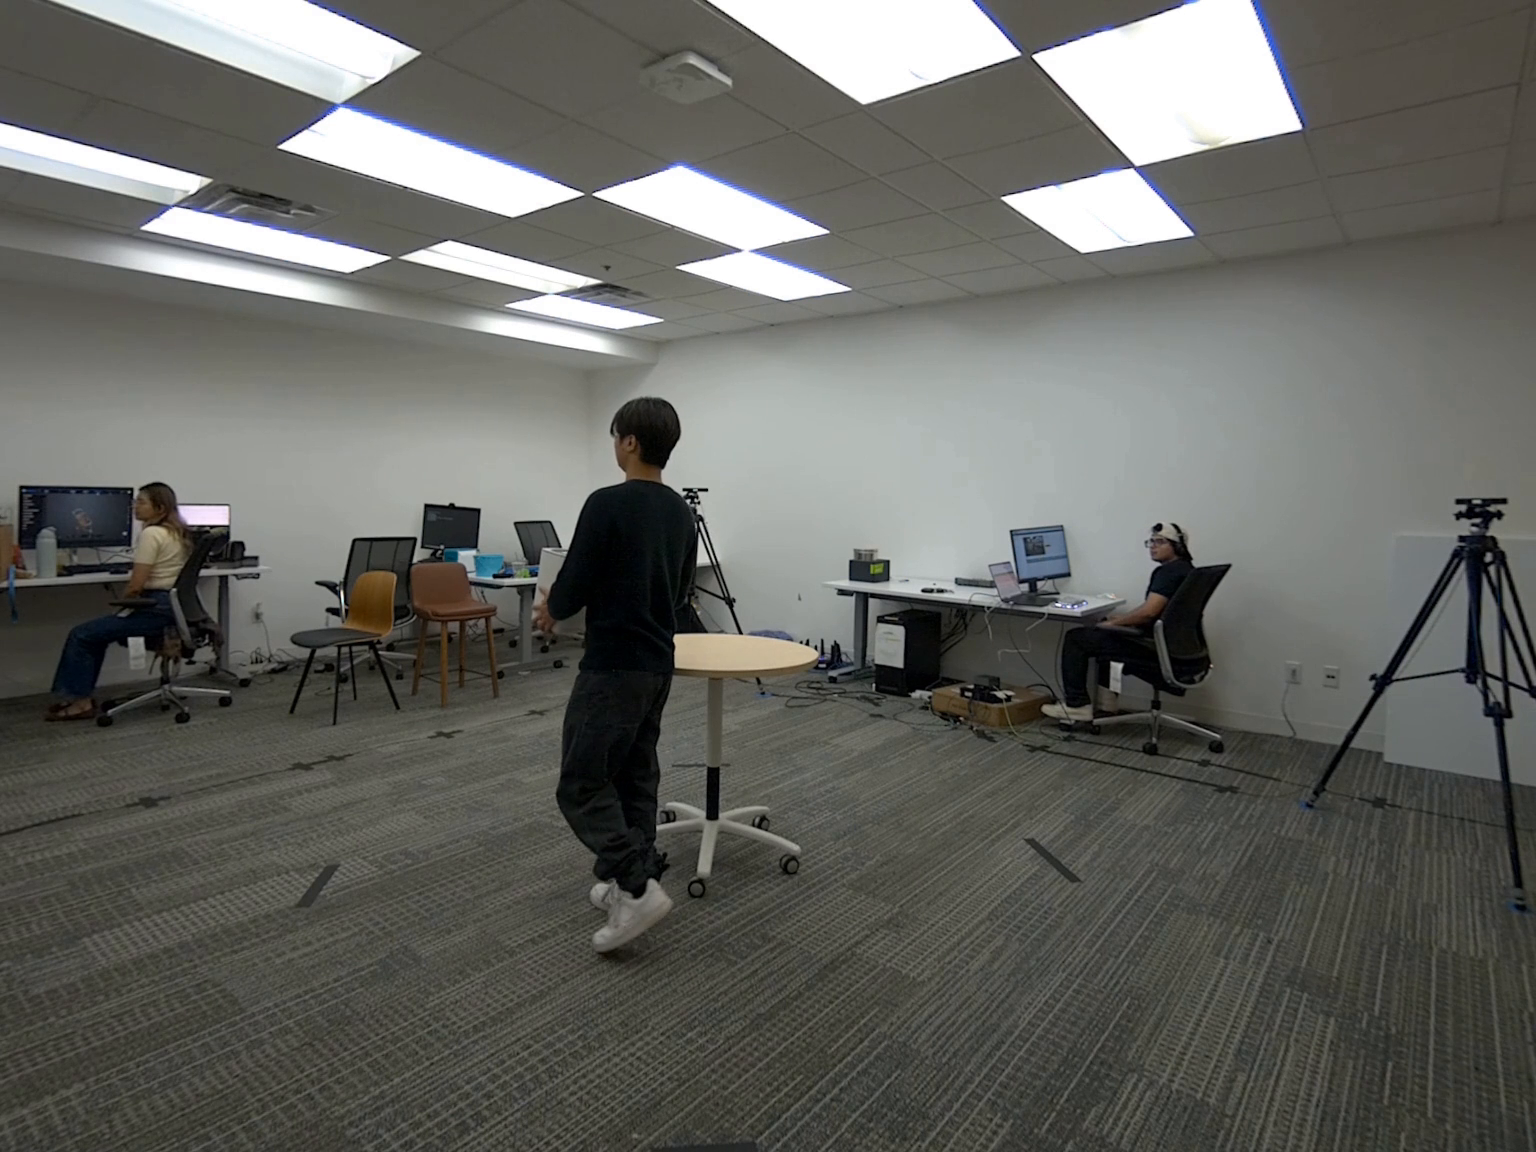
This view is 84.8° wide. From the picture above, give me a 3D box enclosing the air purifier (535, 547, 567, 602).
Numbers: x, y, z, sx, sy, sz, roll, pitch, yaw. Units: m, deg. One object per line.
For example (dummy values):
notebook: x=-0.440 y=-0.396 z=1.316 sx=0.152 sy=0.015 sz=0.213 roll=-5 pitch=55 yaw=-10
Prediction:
air purifier: x=-0.707 y=0.050 z=2.888 sx=0.177 sy=0.264 sz=0.166 roll=13 pitch=6 yaw=34
